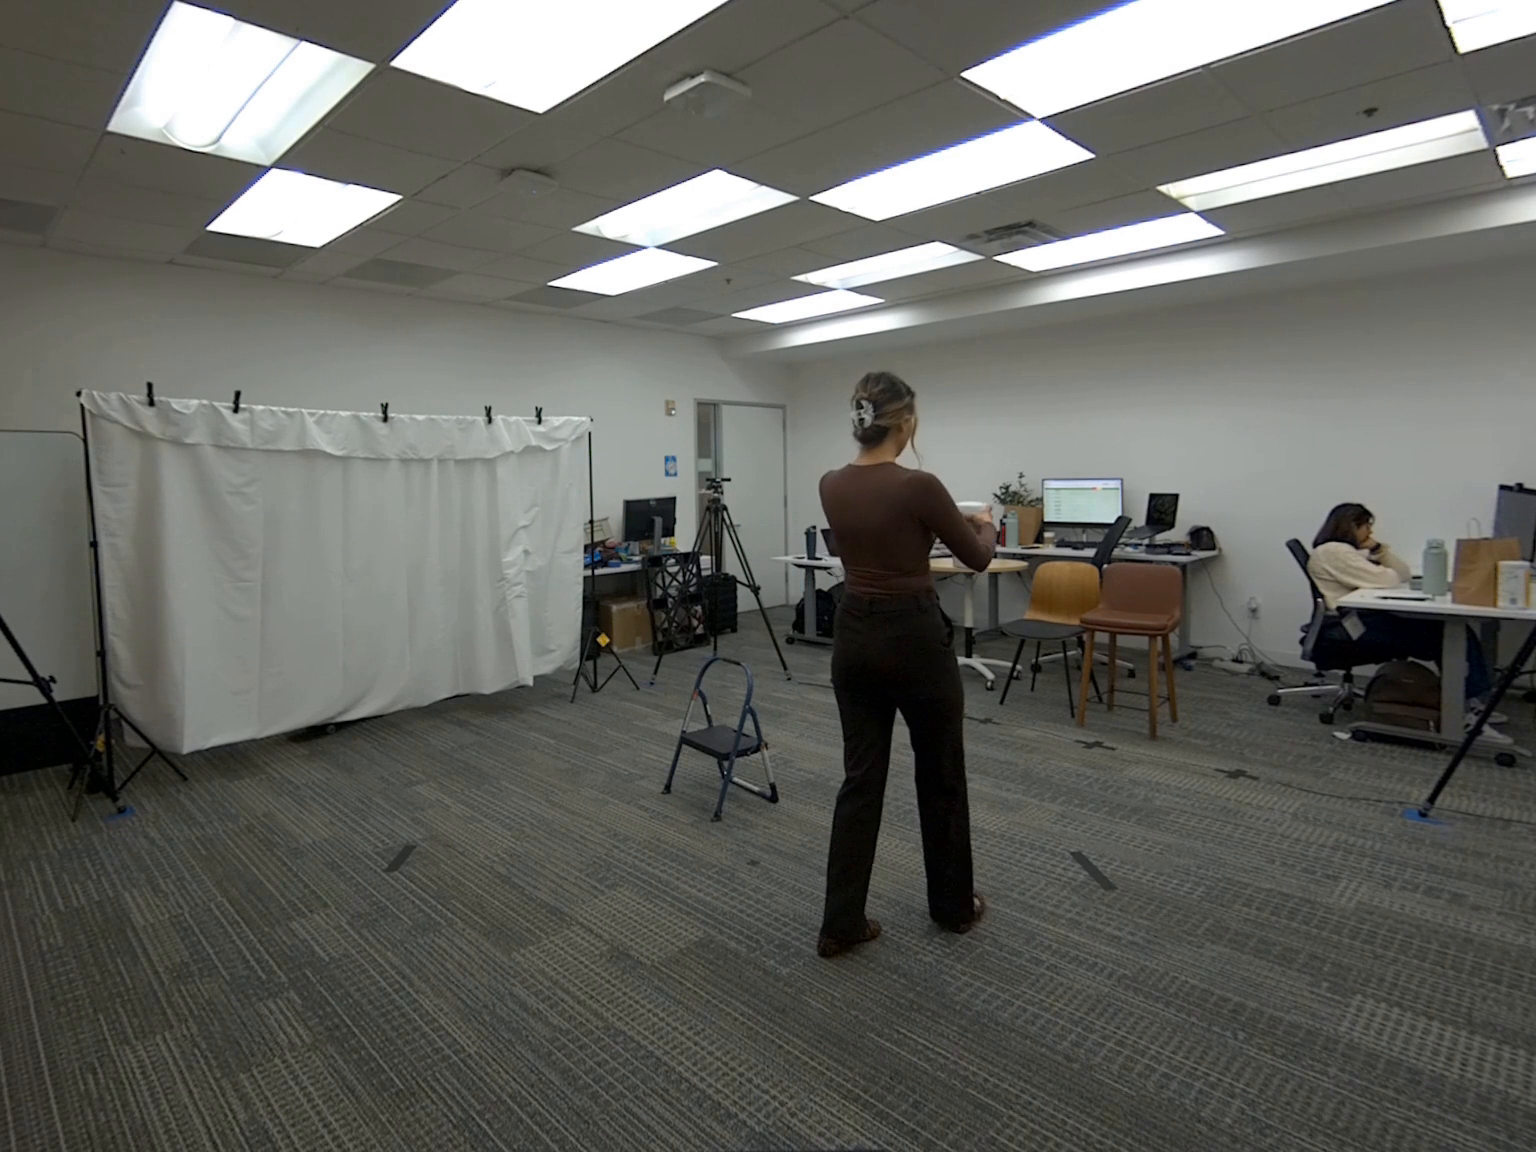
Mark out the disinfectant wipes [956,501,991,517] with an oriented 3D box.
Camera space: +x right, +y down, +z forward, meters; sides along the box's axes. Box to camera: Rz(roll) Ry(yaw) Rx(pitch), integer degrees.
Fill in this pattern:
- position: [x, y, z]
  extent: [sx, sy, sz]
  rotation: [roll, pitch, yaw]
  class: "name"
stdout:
- position: [0.679, -0.136, 2.828]
  extent: [0.118, 0.216, 0.118]
  rotation: [-2, 7, -1]
  class: "disinfectant wipes"
